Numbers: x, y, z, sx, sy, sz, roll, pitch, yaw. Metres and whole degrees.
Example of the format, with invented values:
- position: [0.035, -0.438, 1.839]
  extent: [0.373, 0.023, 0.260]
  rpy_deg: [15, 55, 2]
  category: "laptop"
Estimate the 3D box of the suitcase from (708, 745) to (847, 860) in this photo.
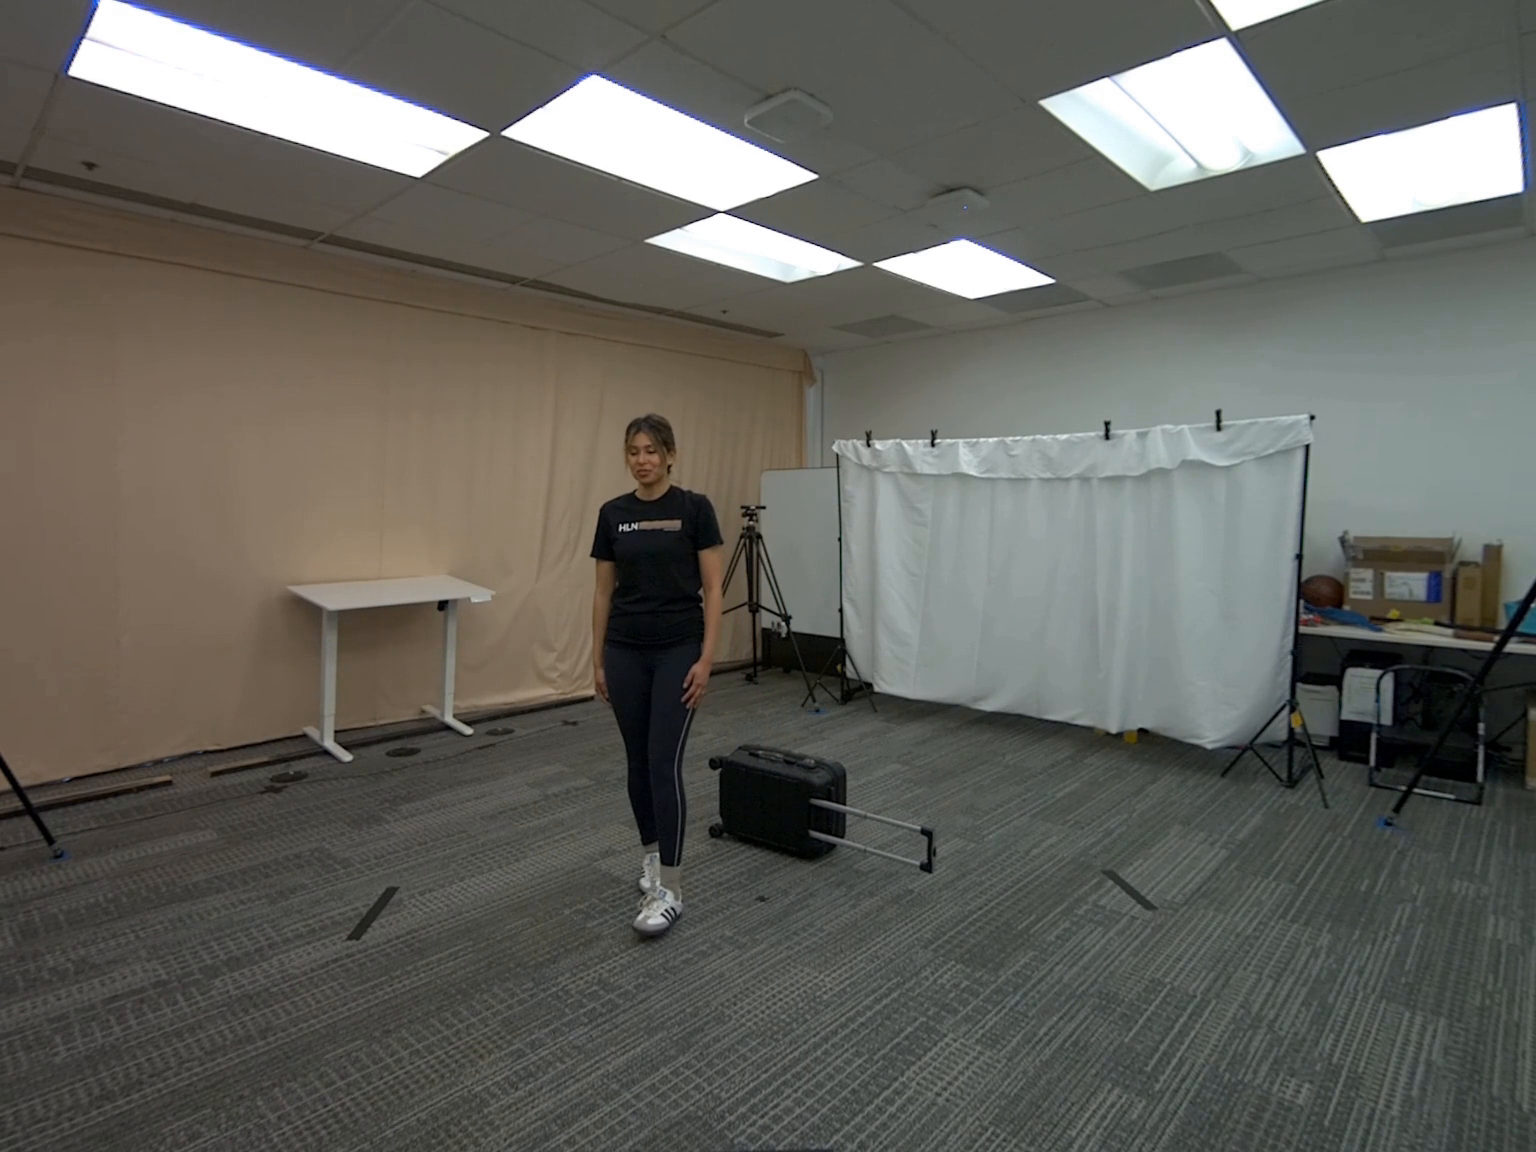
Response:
- position: [0.222, 0.923, 3.348]
  extent: [1.009, 0.383, 0.250]
  rpy_deg: [3, 5, 34]
  category: "suitcase"
